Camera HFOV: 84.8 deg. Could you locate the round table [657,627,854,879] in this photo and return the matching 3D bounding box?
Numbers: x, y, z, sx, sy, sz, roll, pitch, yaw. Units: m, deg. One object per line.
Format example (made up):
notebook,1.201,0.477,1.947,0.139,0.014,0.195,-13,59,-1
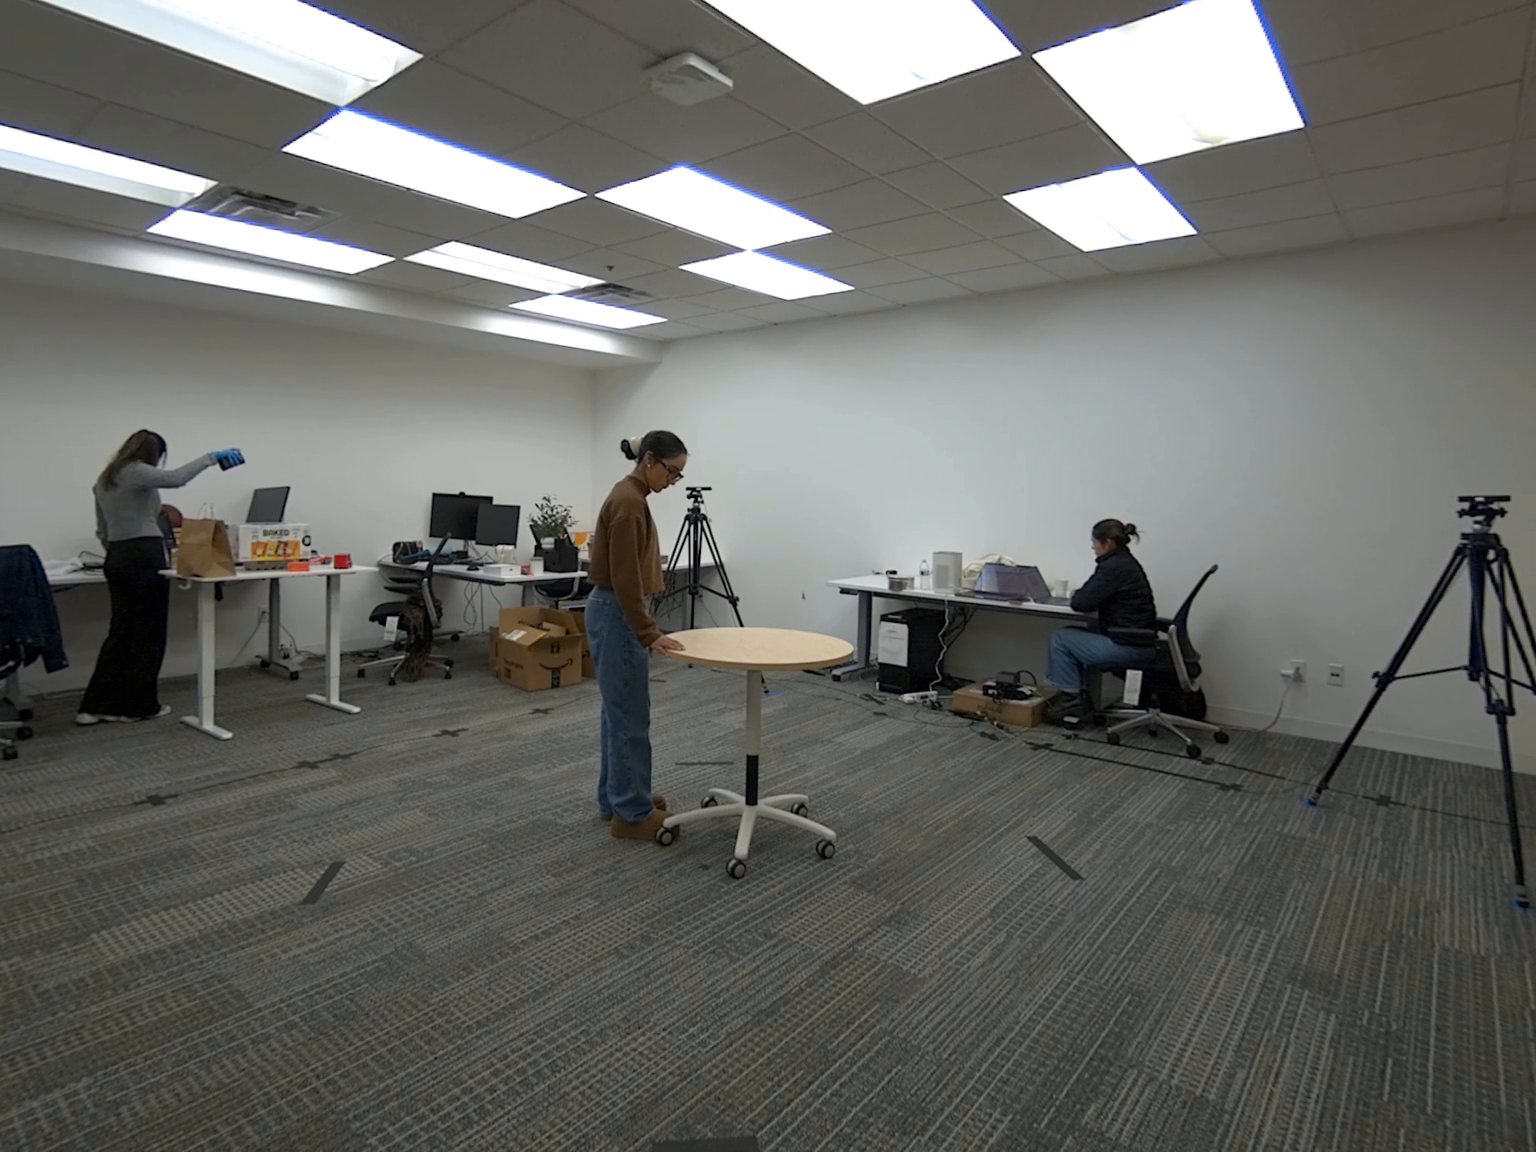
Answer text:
round table,-0.068,0.656,3.364,0.763,0.791,0.768,1,4,-2
